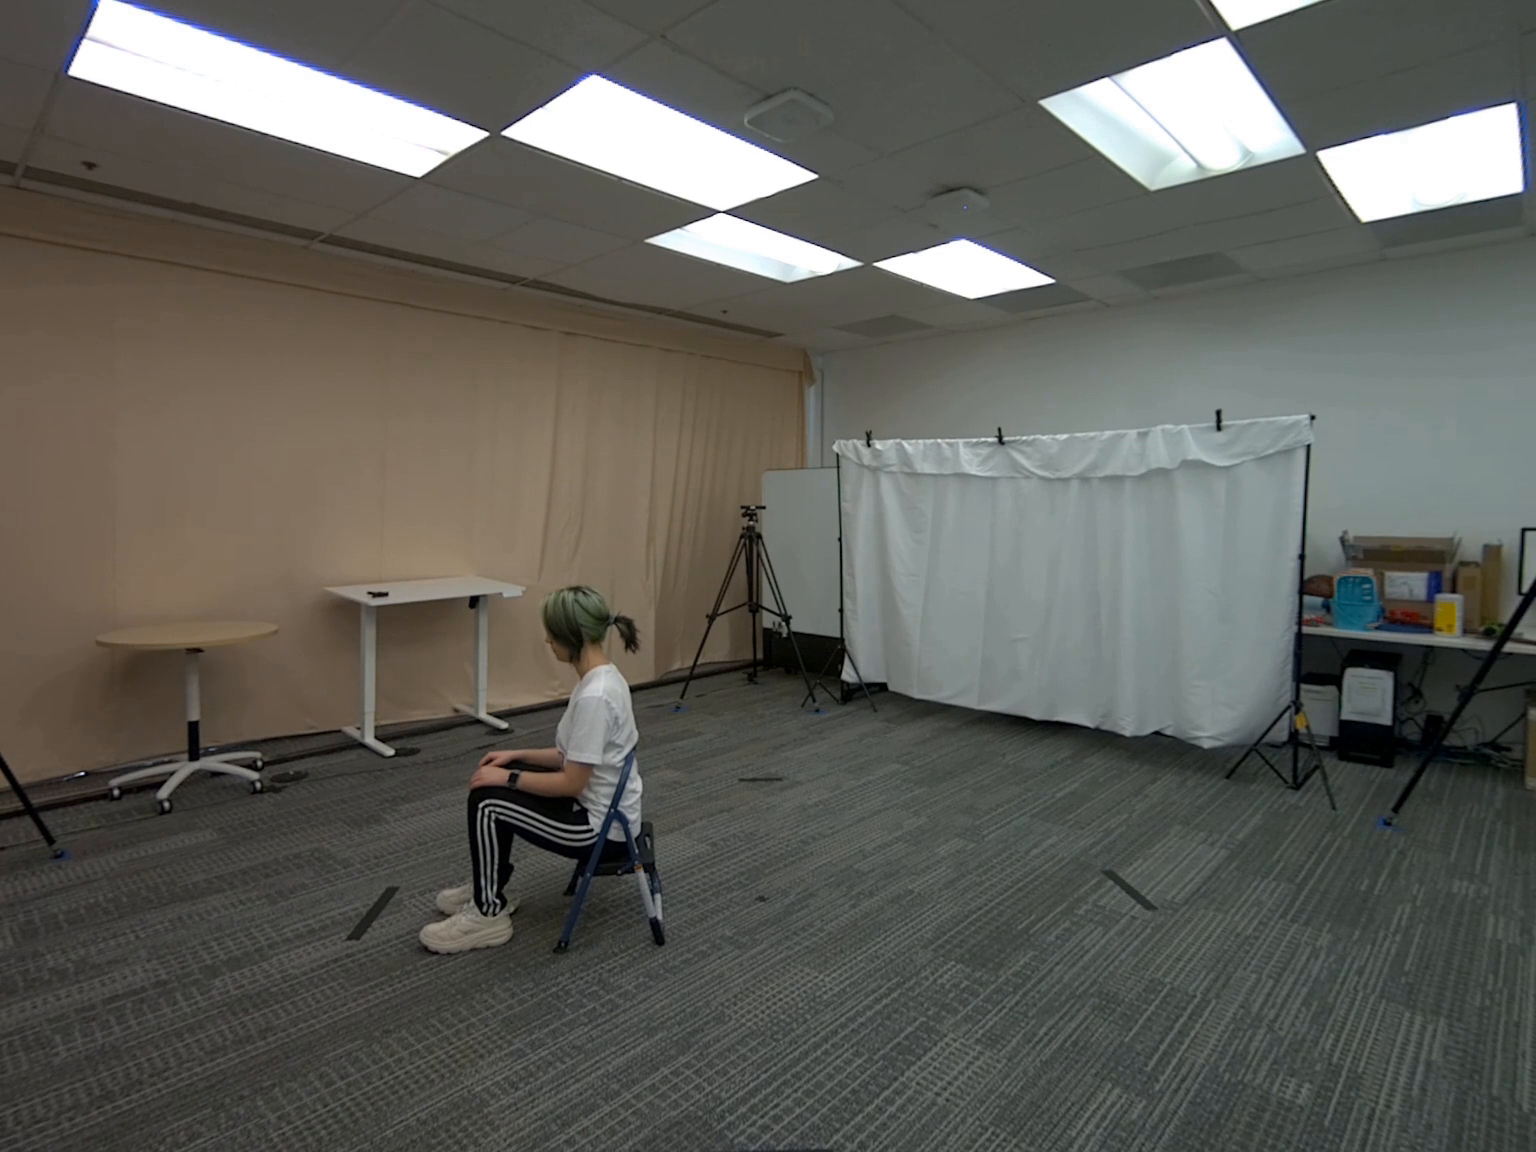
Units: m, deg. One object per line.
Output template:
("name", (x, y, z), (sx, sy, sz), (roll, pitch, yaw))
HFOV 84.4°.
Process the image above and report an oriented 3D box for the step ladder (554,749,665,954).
("step ladder", (-0.530, 0.866, 2.832), (0.346, 0.605, 0.435), (-2, 3, -8))
